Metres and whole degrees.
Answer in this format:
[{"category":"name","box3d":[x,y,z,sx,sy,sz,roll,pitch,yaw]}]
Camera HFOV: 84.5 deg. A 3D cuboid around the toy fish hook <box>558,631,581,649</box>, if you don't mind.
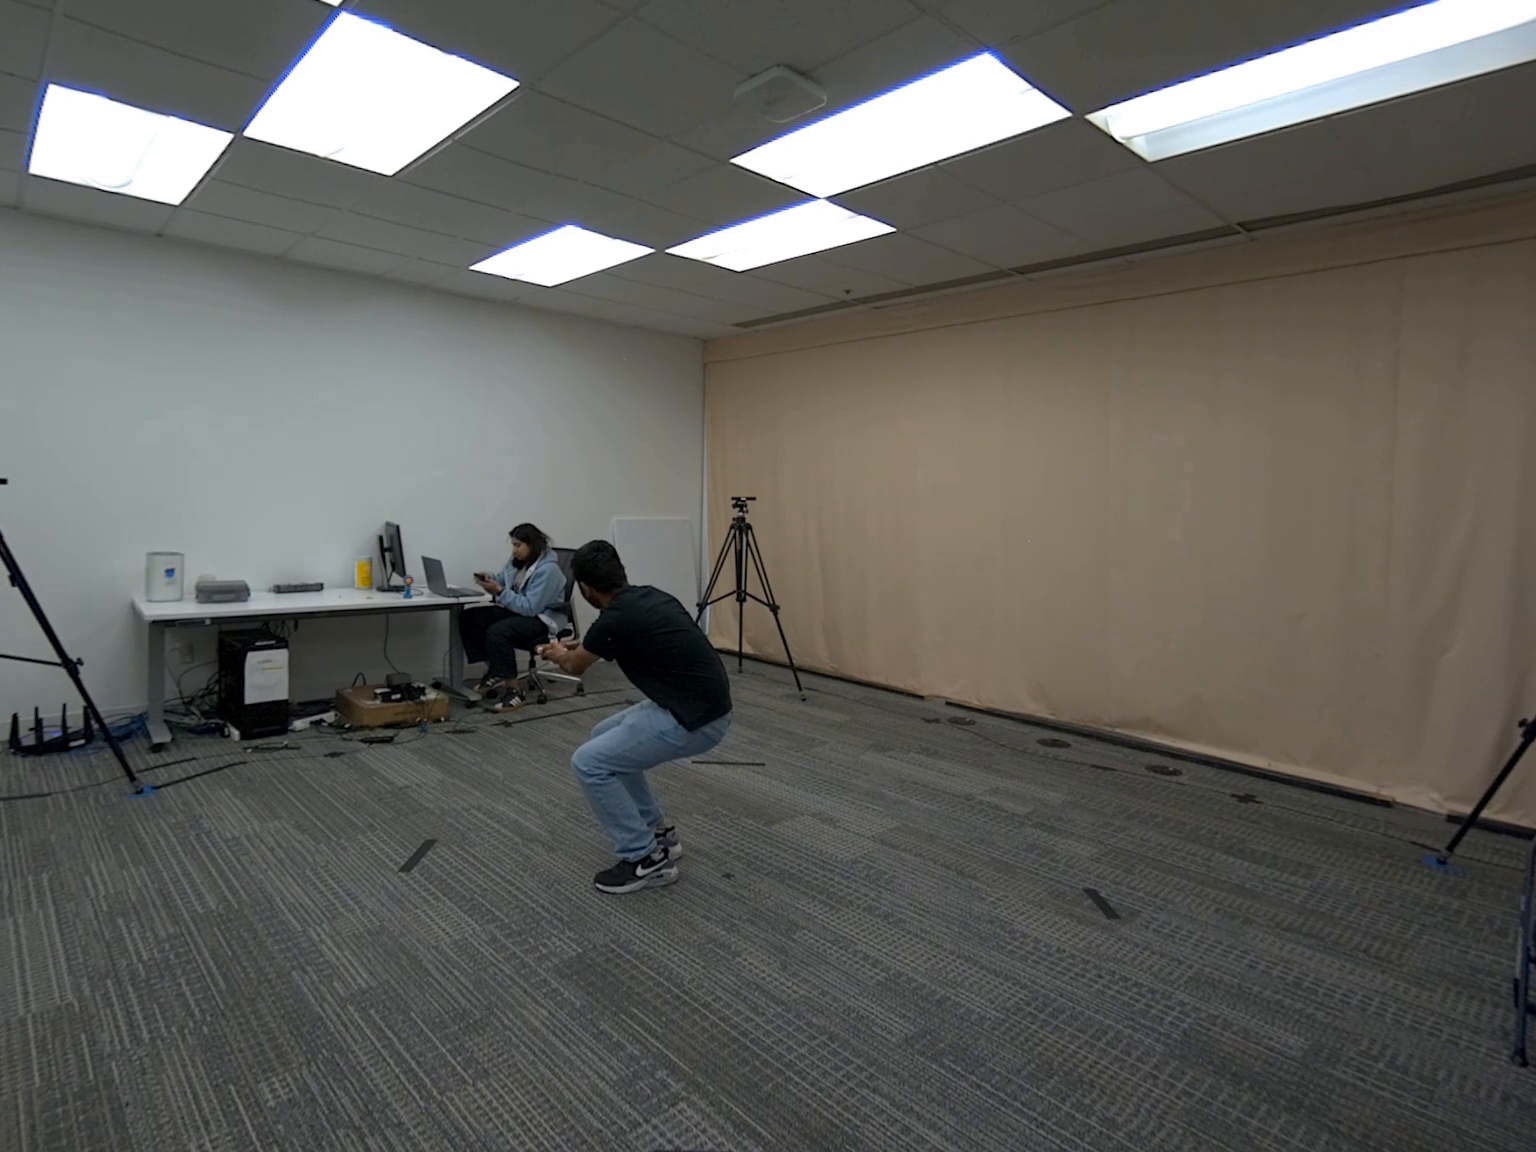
[{"category":"toy fish hook","box3d":[-0.793,0.287,3.641,0.495,0.048,0.231,-2,15,-37]}]
